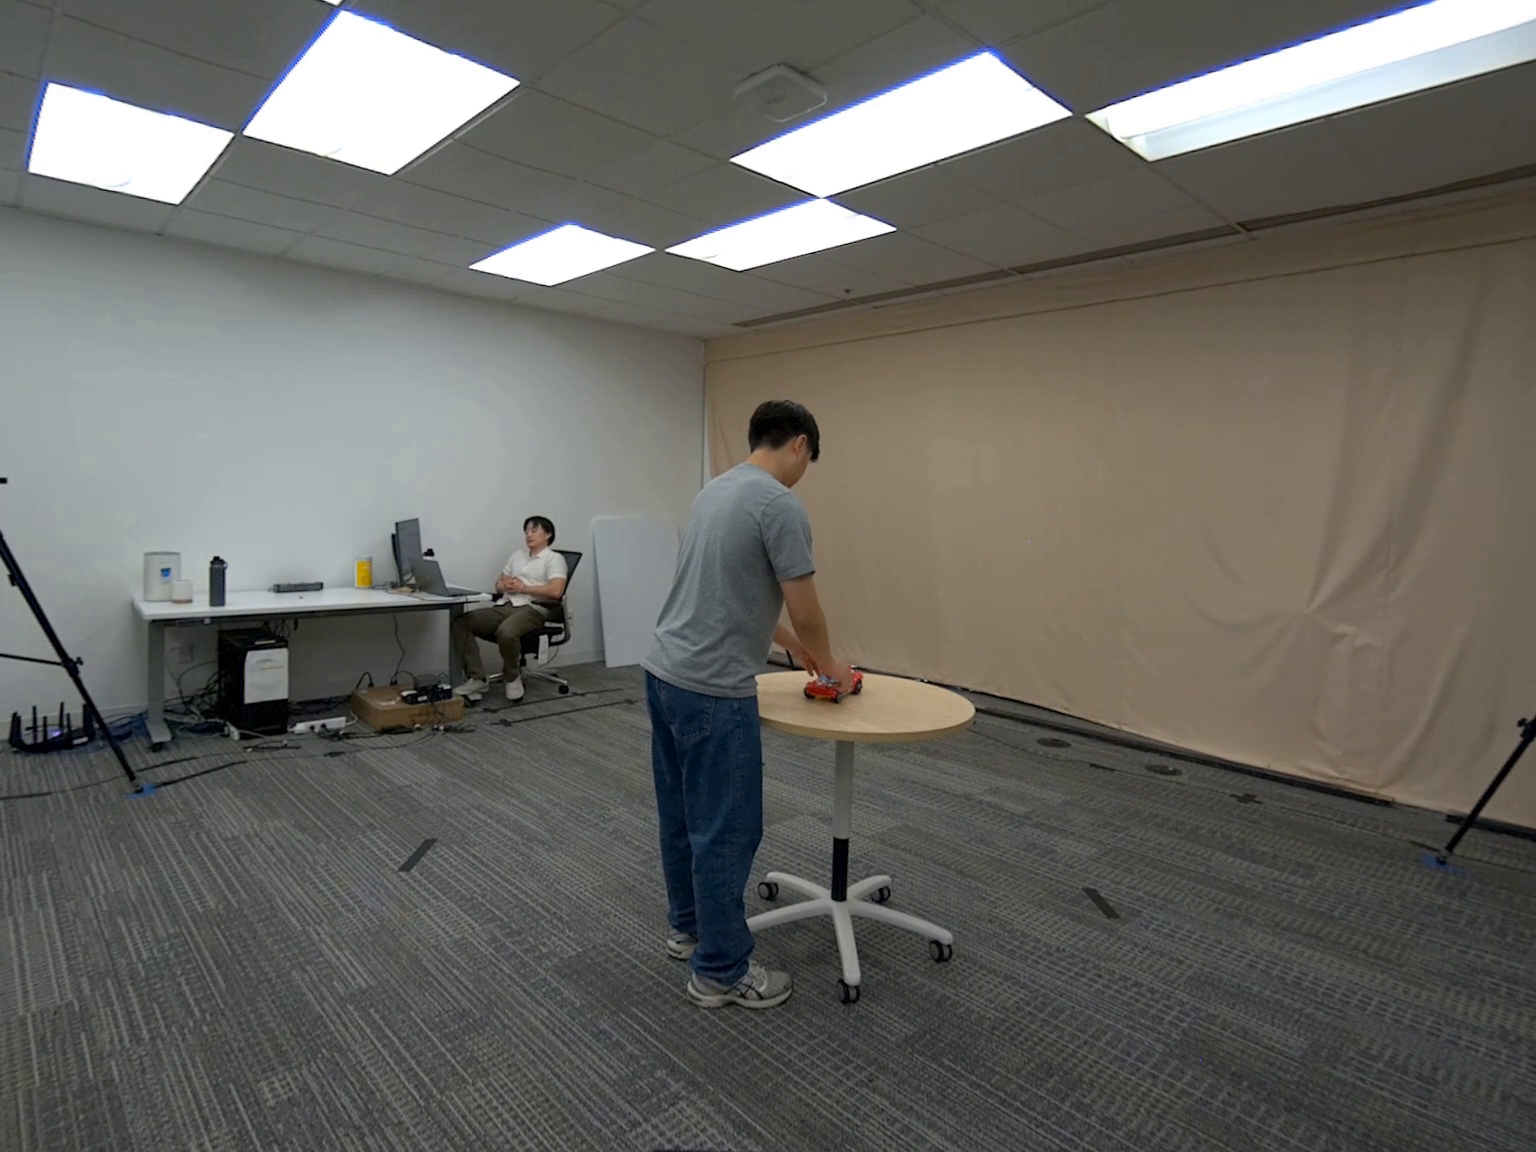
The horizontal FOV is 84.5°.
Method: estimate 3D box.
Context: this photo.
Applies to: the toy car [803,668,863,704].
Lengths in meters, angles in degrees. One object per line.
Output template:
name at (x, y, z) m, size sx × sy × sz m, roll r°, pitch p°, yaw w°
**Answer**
toy car at (0.216, 0.345, 2.632) m, size 0.133 × 0.082 × 0.252 m, roll 5°, pitch 18°, yaw 29°
